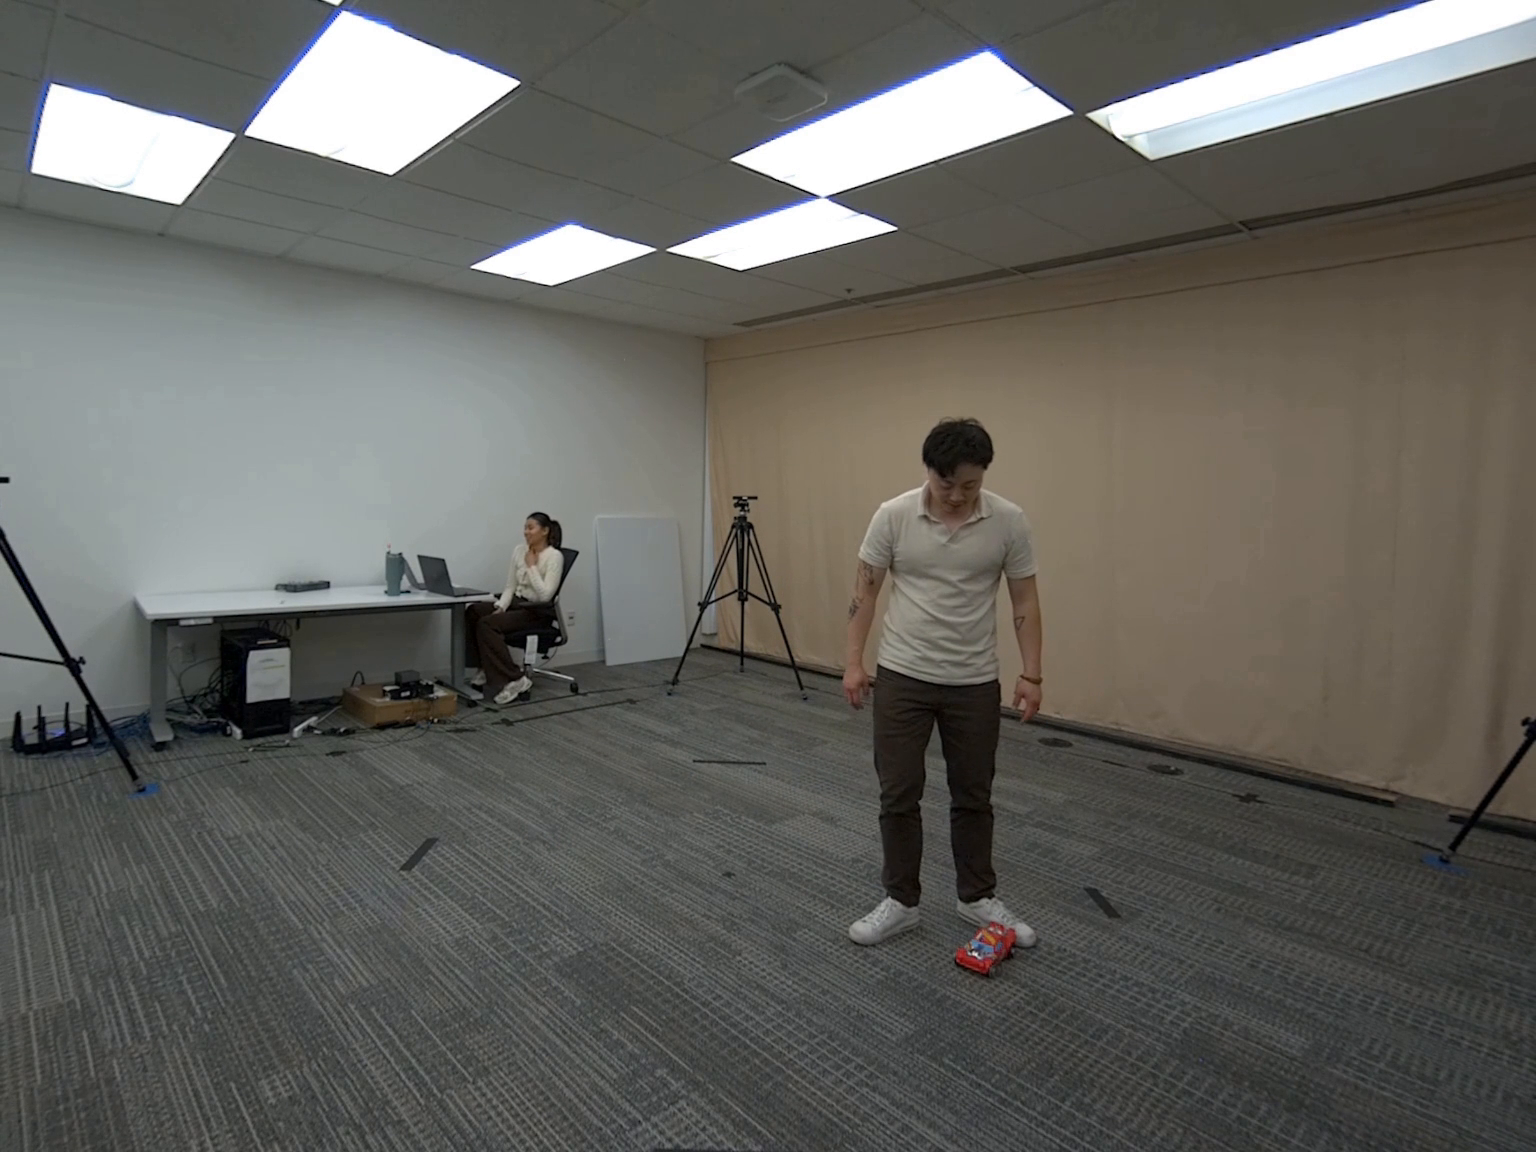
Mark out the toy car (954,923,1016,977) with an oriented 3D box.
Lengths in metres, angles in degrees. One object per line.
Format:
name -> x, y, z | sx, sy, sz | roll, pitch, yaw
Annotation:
toy car -> 0.671, 1.143, 2.570 | 0.133, 0.082, 0.250 | 6, 17, 42
